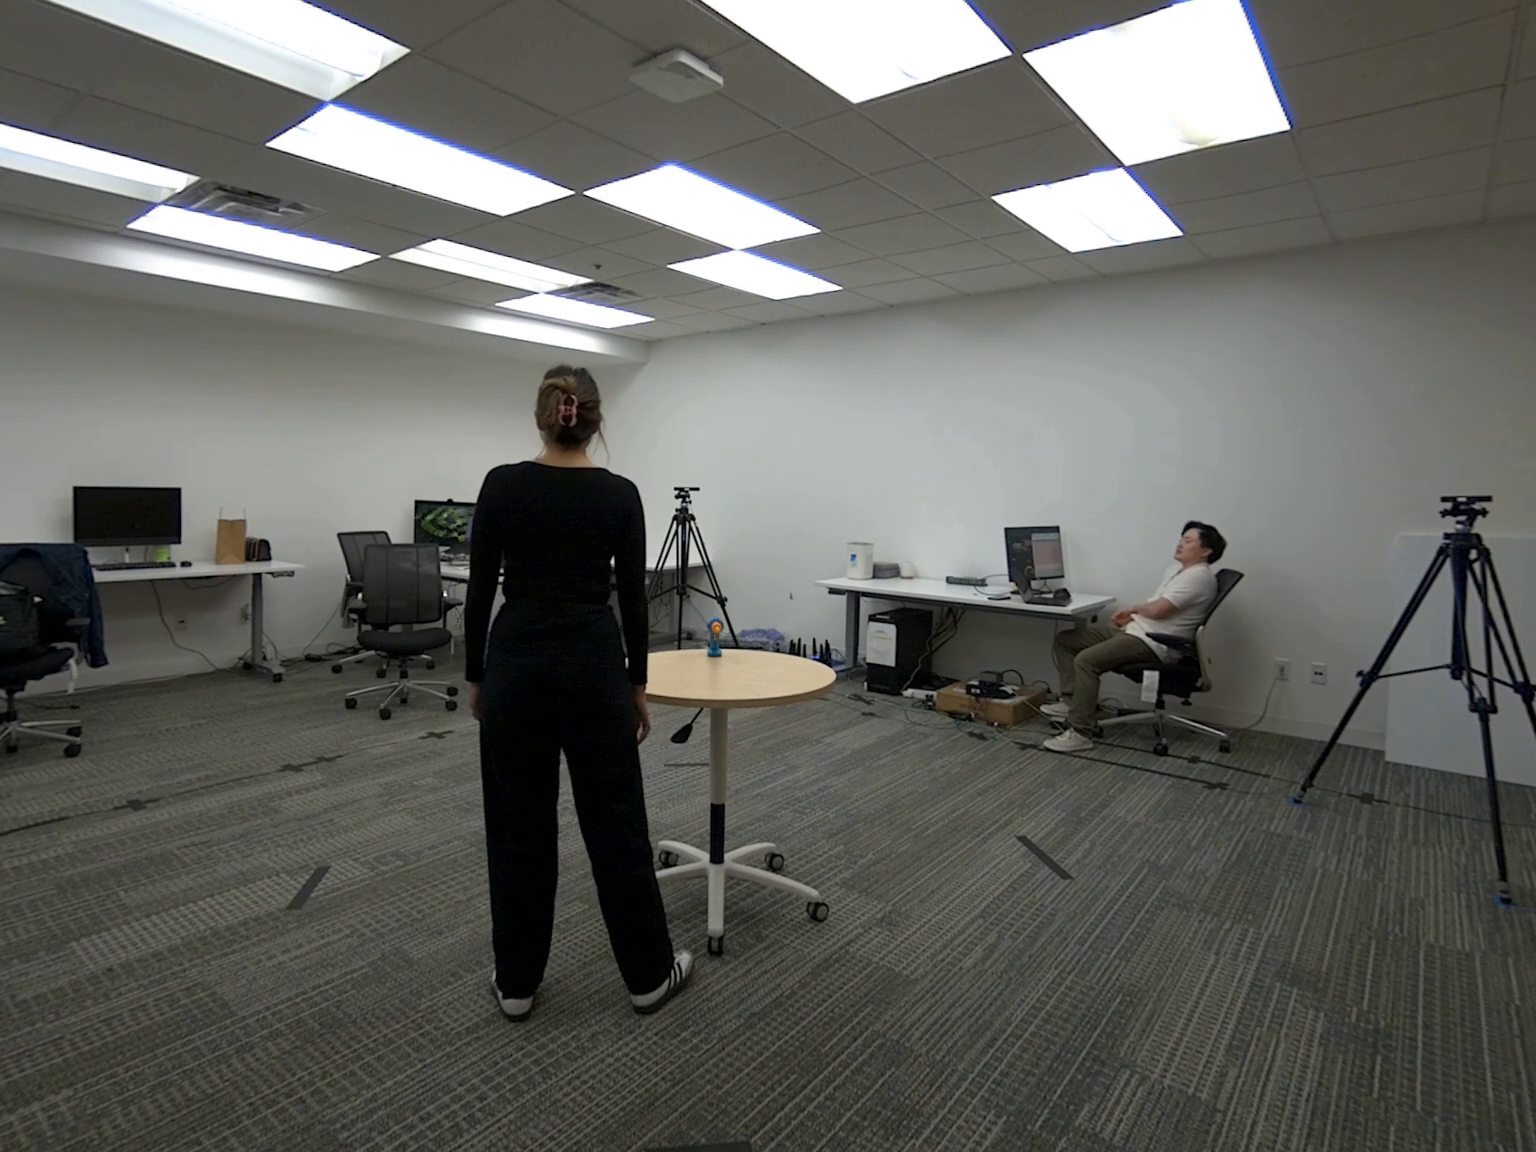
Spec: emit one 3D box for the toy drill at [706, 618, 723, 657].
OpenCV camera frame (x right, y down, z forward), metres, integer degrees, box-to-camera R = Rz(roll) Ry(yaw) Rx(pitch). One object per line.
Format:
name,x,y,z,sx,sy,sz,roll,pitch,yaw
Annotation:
toy drill,-0.196,0.218,3.045,0.060,0.145,0.172,0,5,-11
